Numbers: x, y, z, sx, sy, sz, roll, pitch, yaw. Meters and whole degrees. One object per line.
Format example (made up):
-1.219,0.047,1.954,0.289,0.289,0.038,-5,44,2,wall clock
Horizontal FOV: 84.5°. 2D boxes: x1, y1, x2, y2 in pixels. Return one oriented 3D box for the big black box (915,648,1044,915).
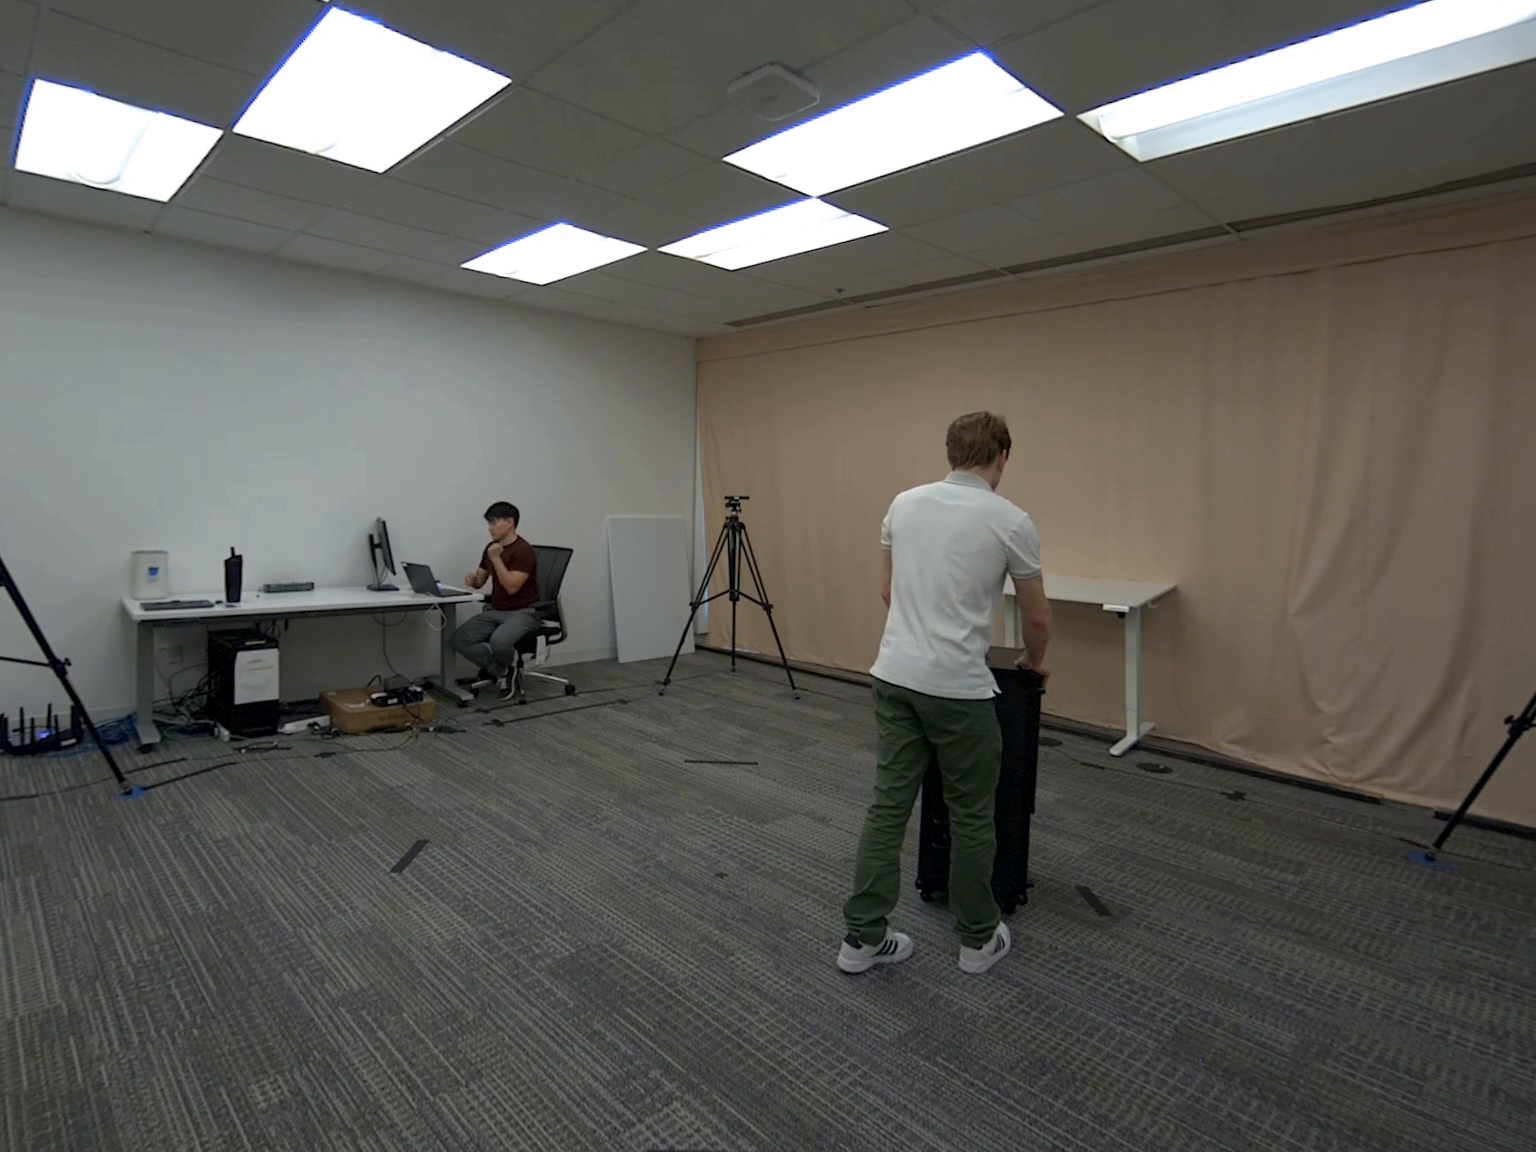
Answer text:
0.744,0.709,3.041,0.390,0.866,0.519,3,4,13,big black box
